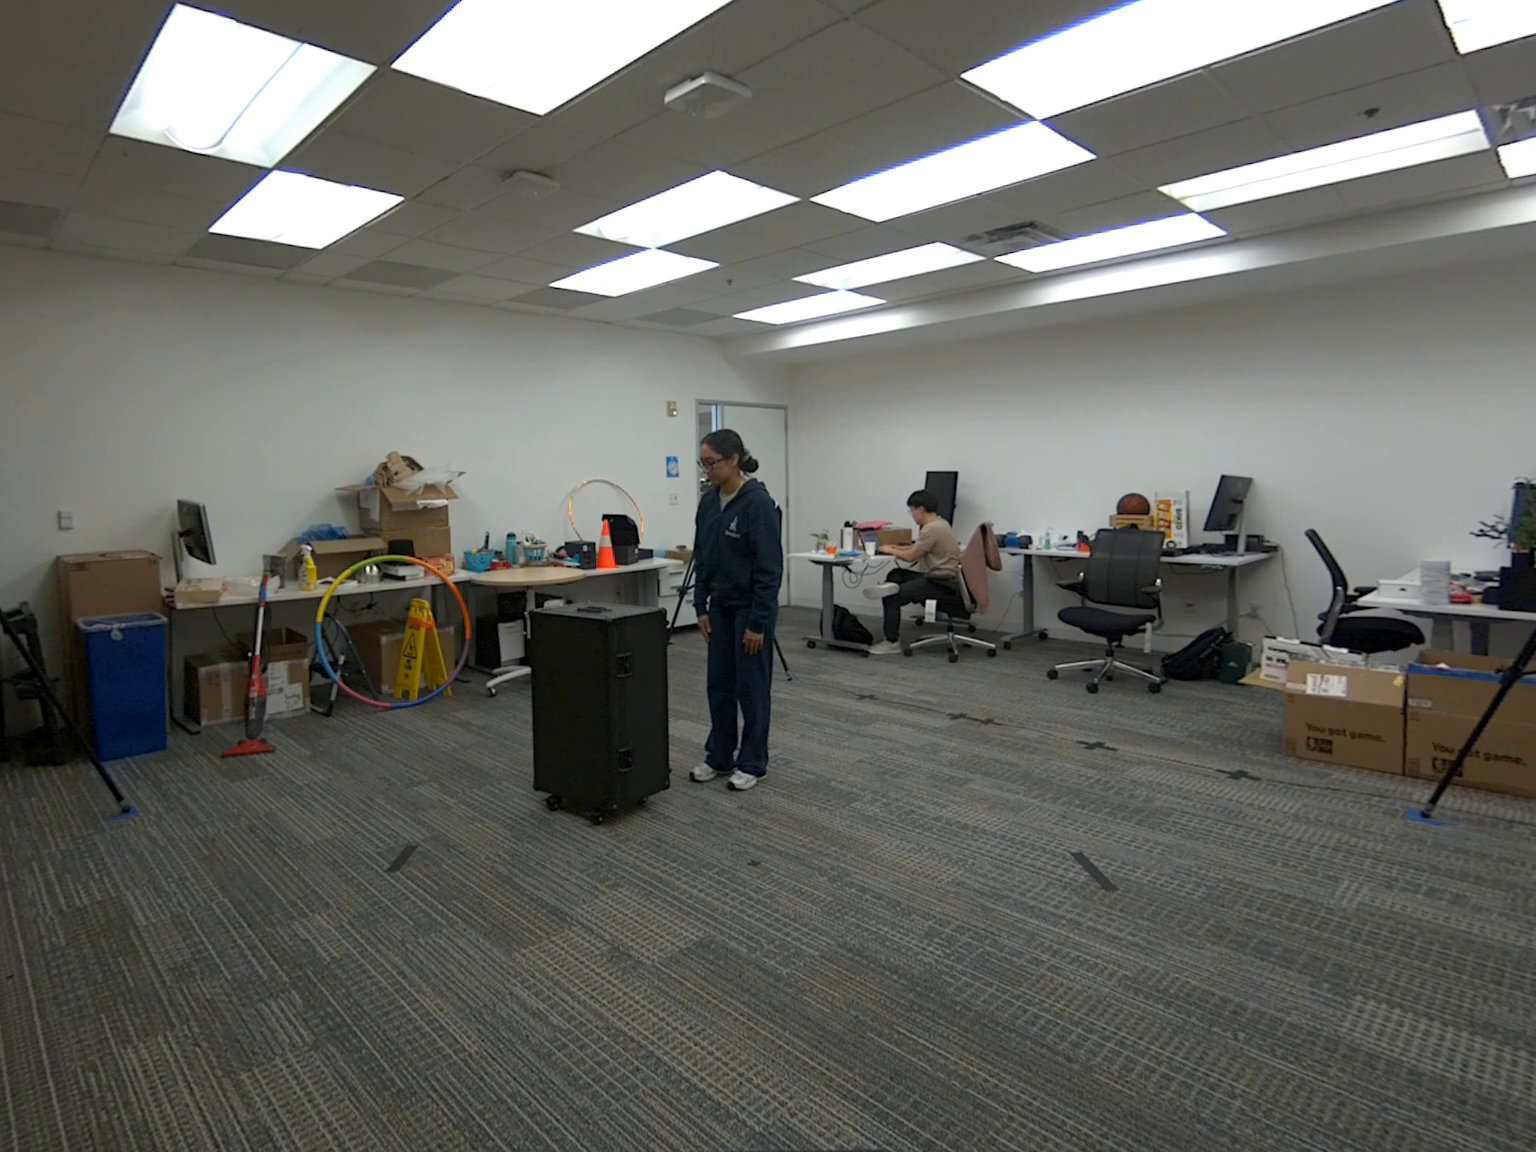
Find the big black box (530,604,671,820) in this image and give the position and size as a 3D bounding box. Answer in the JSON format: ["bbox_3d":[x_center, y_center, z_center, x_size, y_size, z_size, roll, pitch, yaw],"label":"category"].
[{"bbox_3d":[-0.723,0.564,3.696,0.536,0.860,0.386,2,3,37],"label":"big black box"}]
